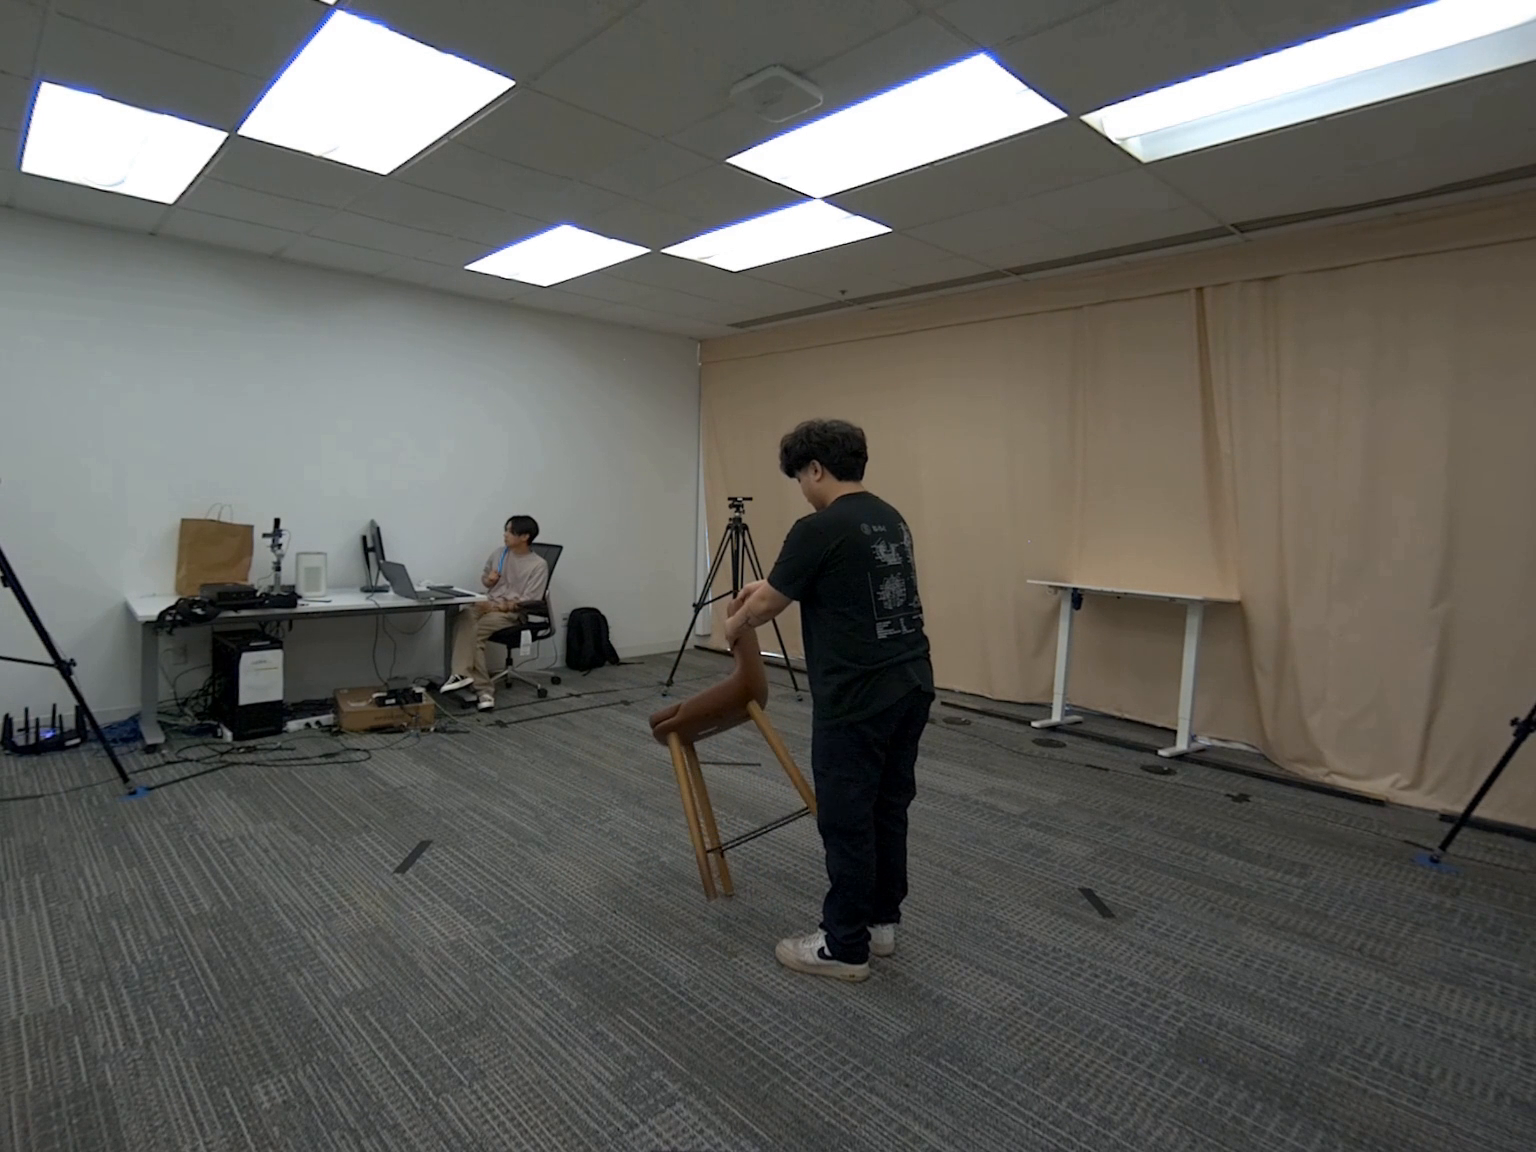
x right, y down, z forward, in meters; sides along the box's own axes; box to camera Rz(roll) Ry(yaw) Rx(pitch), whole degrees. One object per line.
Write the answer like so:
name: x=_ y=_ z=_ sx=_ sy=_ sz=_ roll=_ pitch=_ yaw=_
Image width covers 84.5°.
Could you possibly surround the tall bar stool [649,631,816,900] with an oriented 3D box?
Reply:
tall bar stool: x=-0.140 y=0.595 z=2.934 sx=0.467 sy=0.906 sz=0.448 roll=-21 pitch=-19 yaw=-1
